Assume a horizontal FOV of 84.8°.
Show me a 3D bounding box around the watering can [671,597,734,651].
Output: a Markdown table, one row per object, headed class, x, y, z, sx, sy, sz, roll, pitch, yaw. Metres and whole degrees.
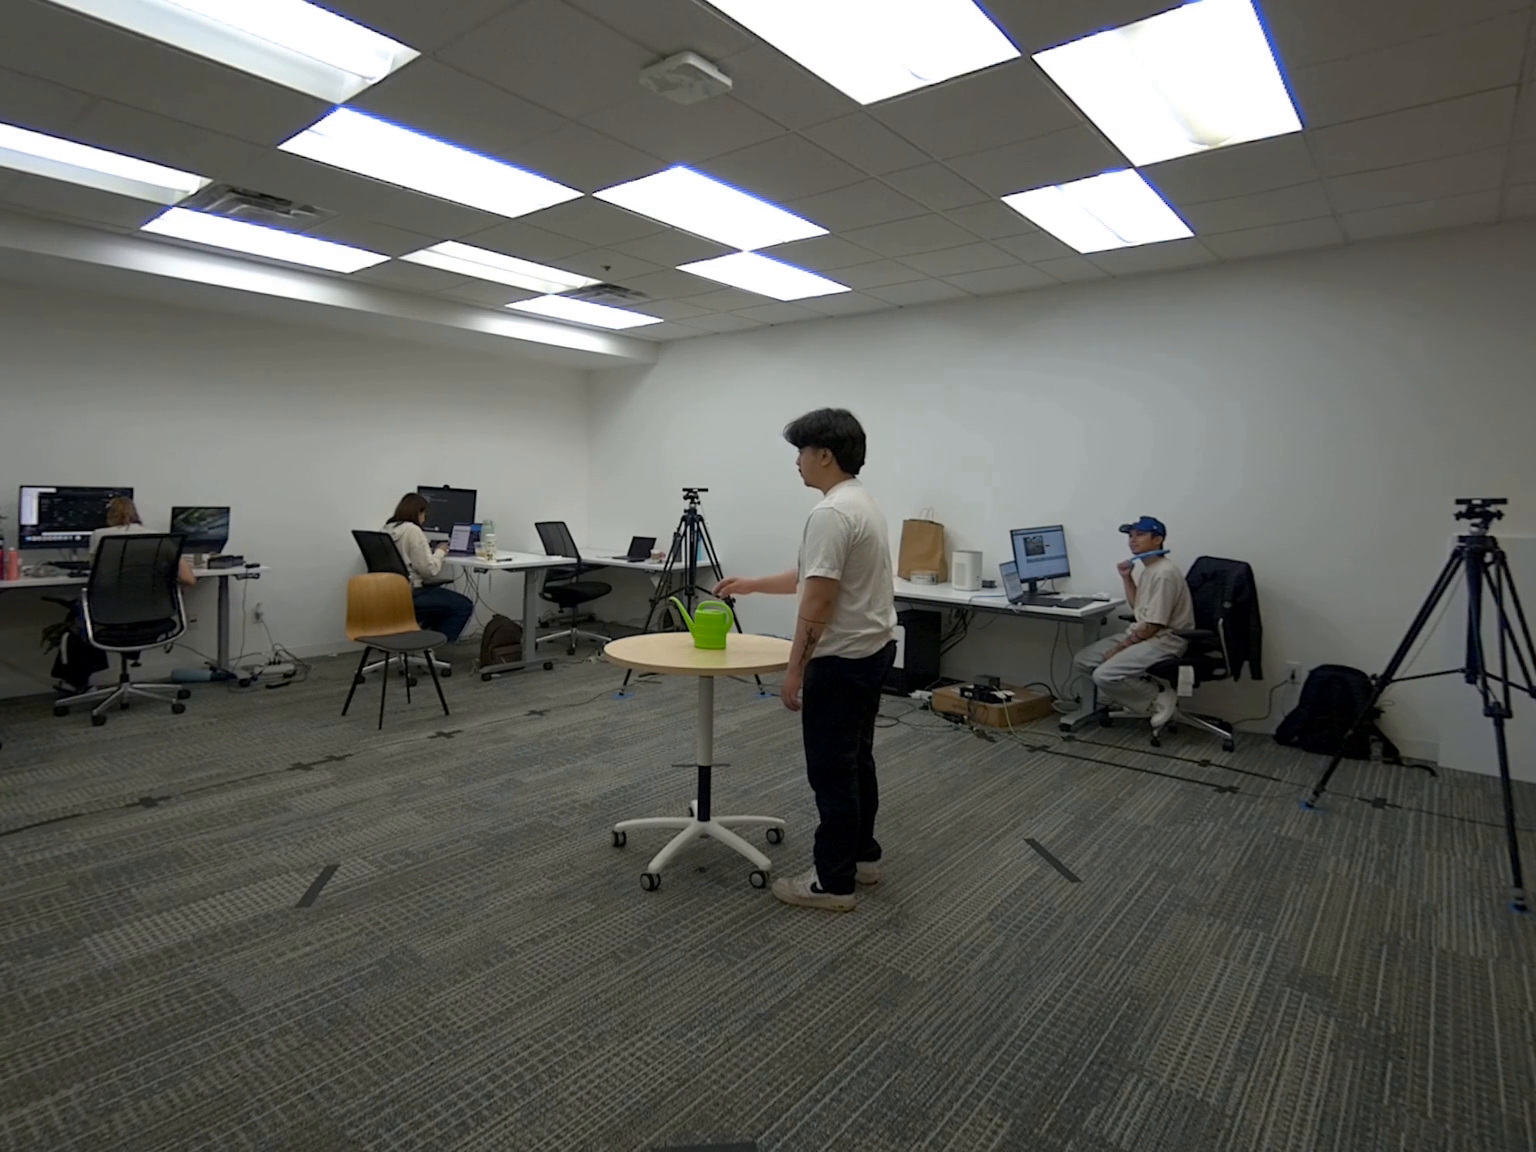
| class | x | y | z | sx | sy | sz | roll | pitch | yaw |
| --- | --- | --- | --- | --- | --- | --- | --- | --- | --- |
| watering can | -0.263 | 0.176 | 3.243 | 0.288 | 0.176 | 0.095 | 7 | 5 | 39 |
